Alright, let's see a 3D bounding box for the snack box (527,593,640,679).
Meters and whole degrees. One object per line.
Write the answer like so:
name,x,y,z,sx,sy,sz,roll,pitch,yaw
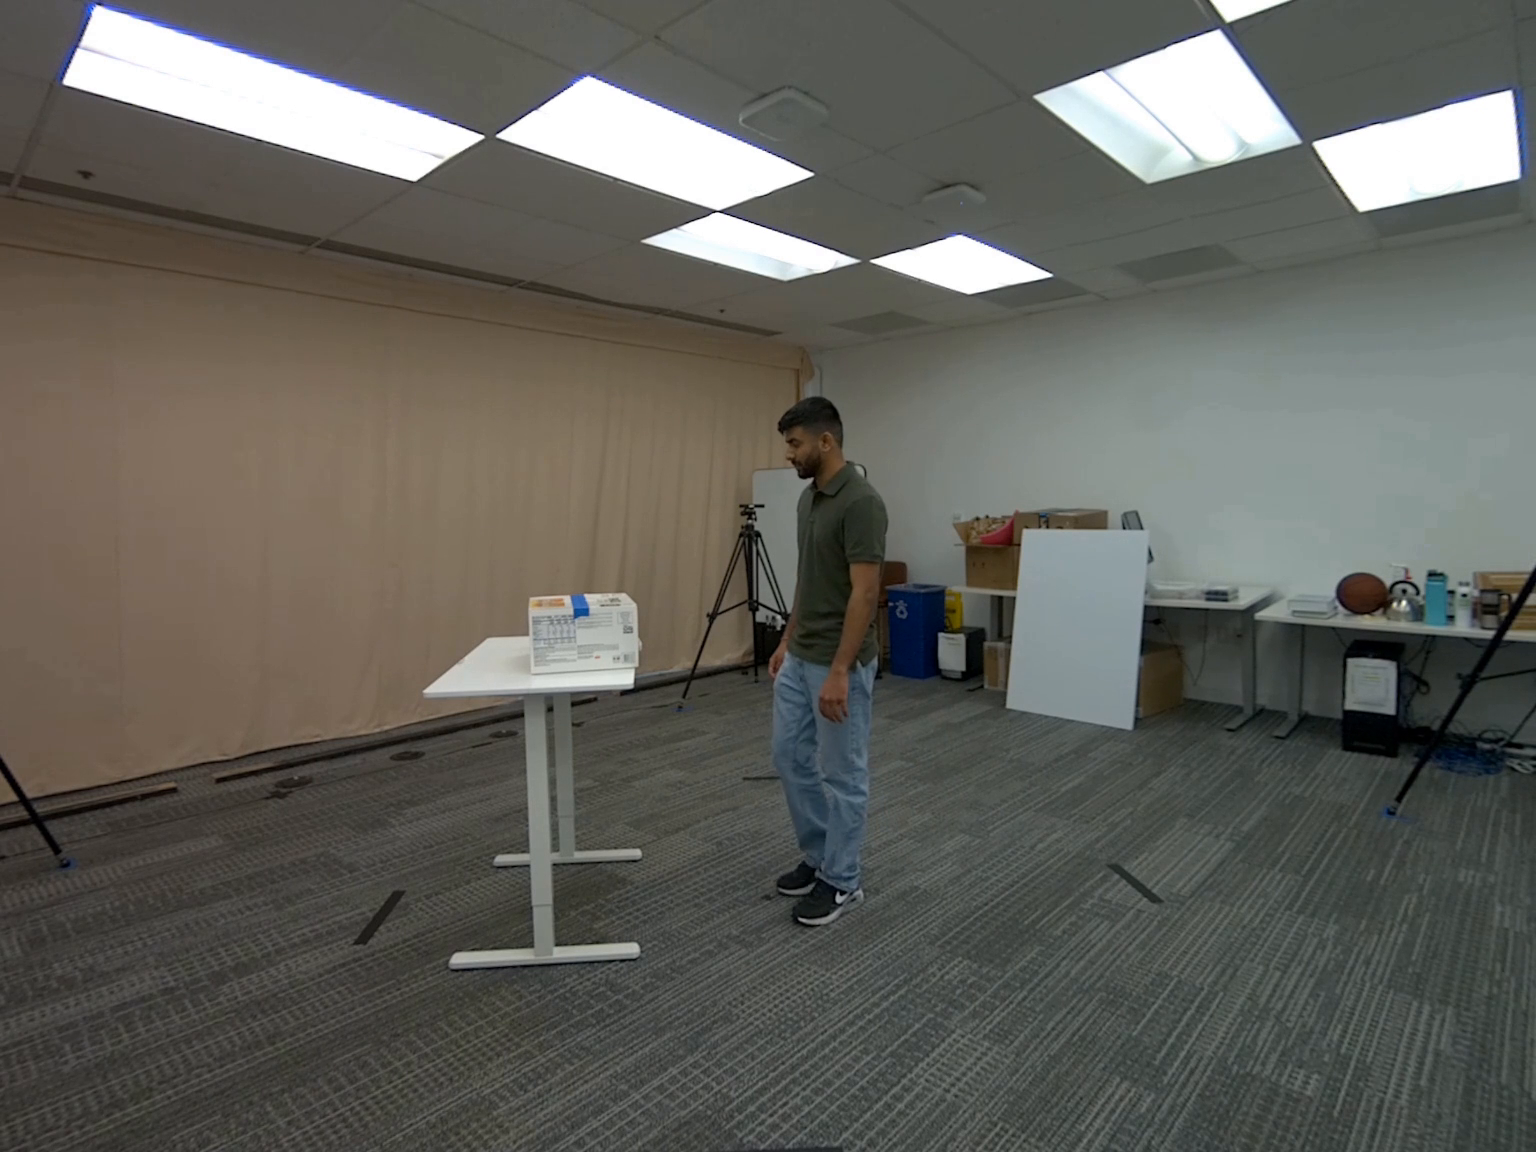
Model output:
snack box,-0.627,0.186,2.829,0.336,0.205,0.412,-3,5,-14
